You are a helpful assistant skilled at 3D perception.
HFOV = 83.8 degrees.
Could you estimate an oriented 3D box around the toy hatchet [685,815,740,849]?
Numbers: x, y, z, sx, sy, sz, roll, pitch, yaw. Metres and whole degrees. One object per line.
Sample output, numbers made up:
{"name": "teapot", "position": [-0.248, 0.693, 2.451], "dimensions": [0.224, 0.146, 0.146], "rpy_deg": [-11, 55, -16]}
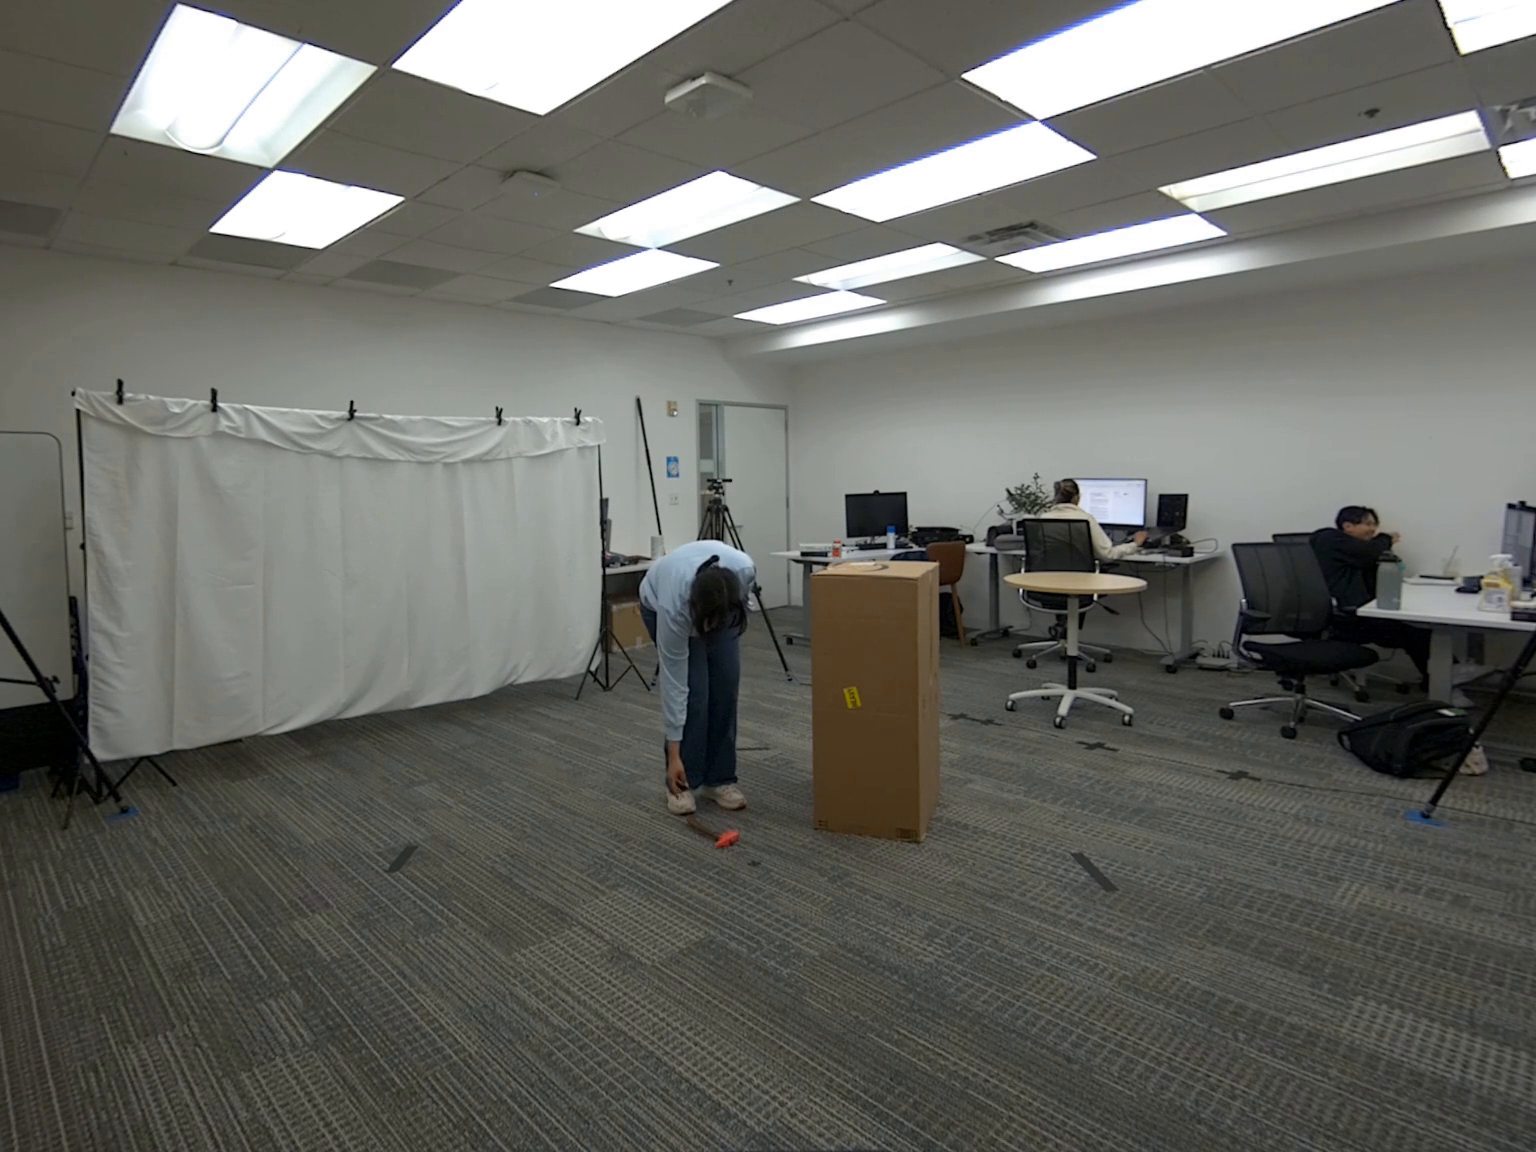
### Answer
{"name": "toy hatchet", "position": [-0.211, 1.004, 3.364], "dimensions": [0.128, 0.029, 0.278], "rpy_deg": [-7, 10, -30]}
